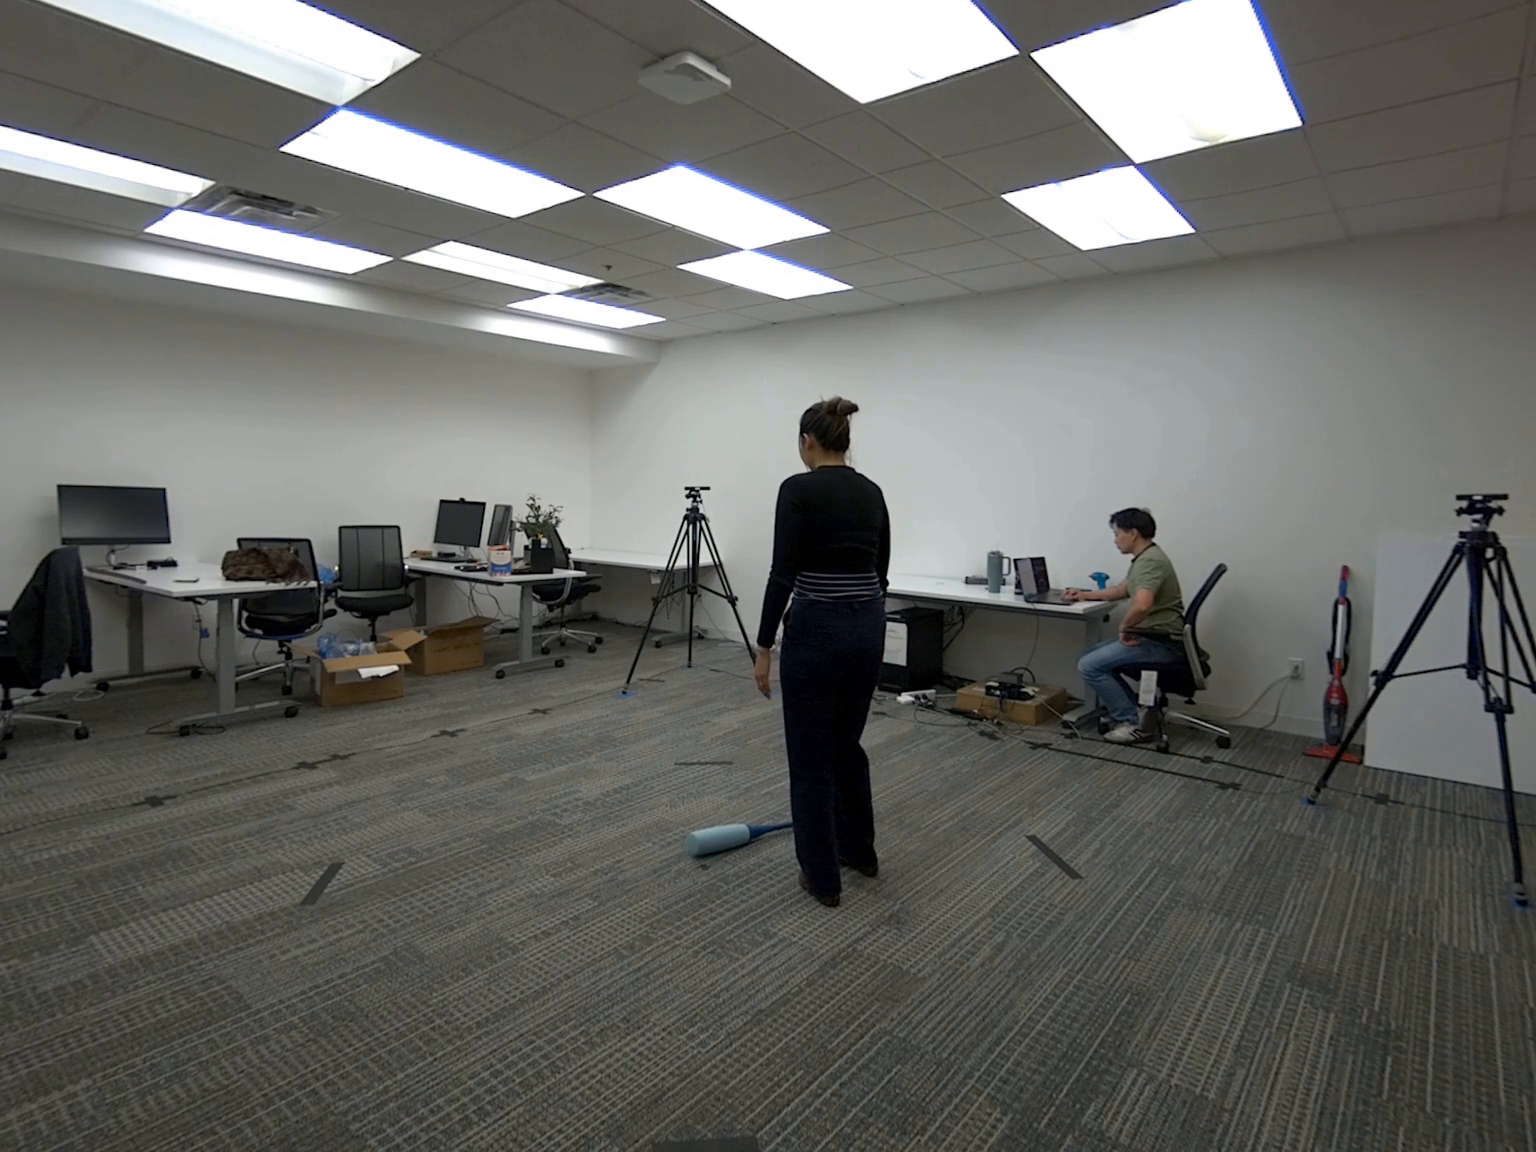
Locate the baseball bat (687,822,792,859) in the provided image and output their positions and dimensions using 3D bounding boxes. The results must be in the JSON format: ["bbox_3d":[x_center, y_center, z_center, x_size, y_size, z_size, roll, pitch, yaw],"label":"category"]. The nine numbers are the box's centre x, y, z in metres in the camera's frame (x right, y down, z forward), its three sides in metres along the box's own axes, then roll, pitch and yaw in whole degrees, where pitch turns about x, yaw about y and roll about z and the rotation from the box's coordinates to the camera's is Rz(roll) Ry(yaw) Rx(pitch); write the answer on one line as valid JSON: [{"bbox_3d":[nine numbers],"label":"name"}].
[{"bbox_3d":[-0.085,1.008,3.339,0.527,0.089,0.092,1,3,-34],"label":"baseball bat"}]
